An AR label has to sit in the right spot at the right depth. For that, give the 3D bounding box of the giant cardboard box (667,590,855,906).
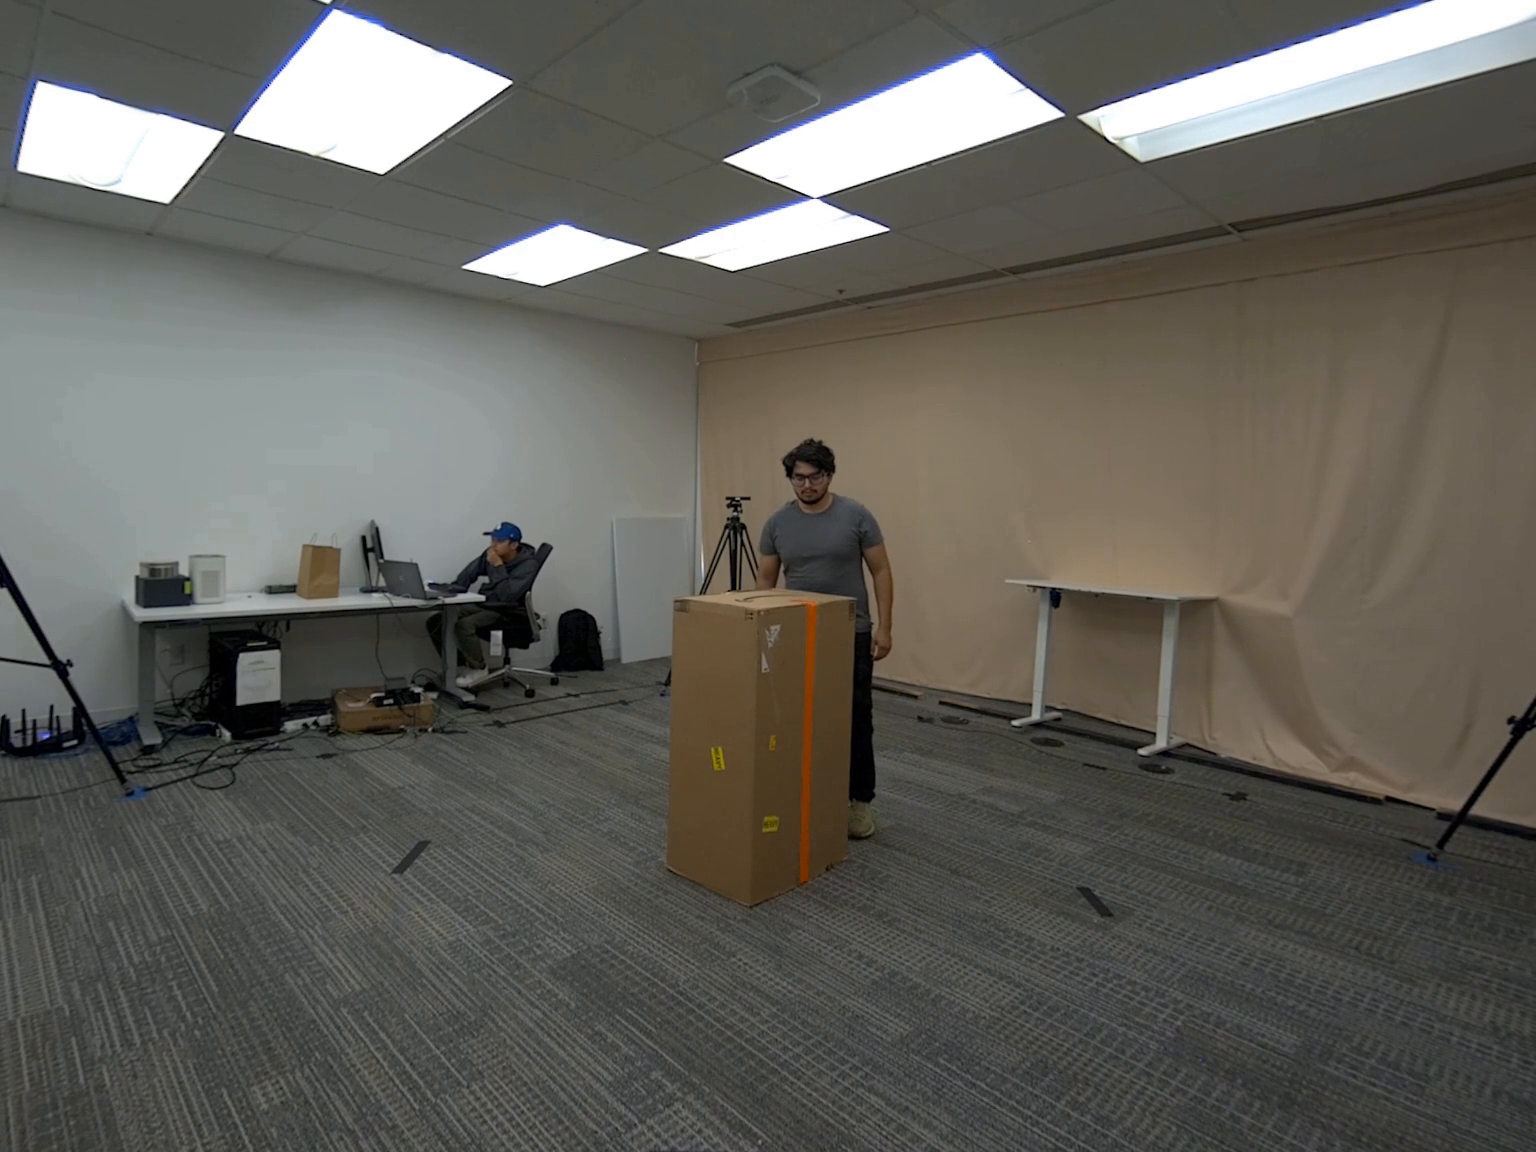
[{"bbox_3d":[-0.028,0.597,3.181,0.458,1.025,0.570,3,3,41],"label":"giant cardboard box"}]
